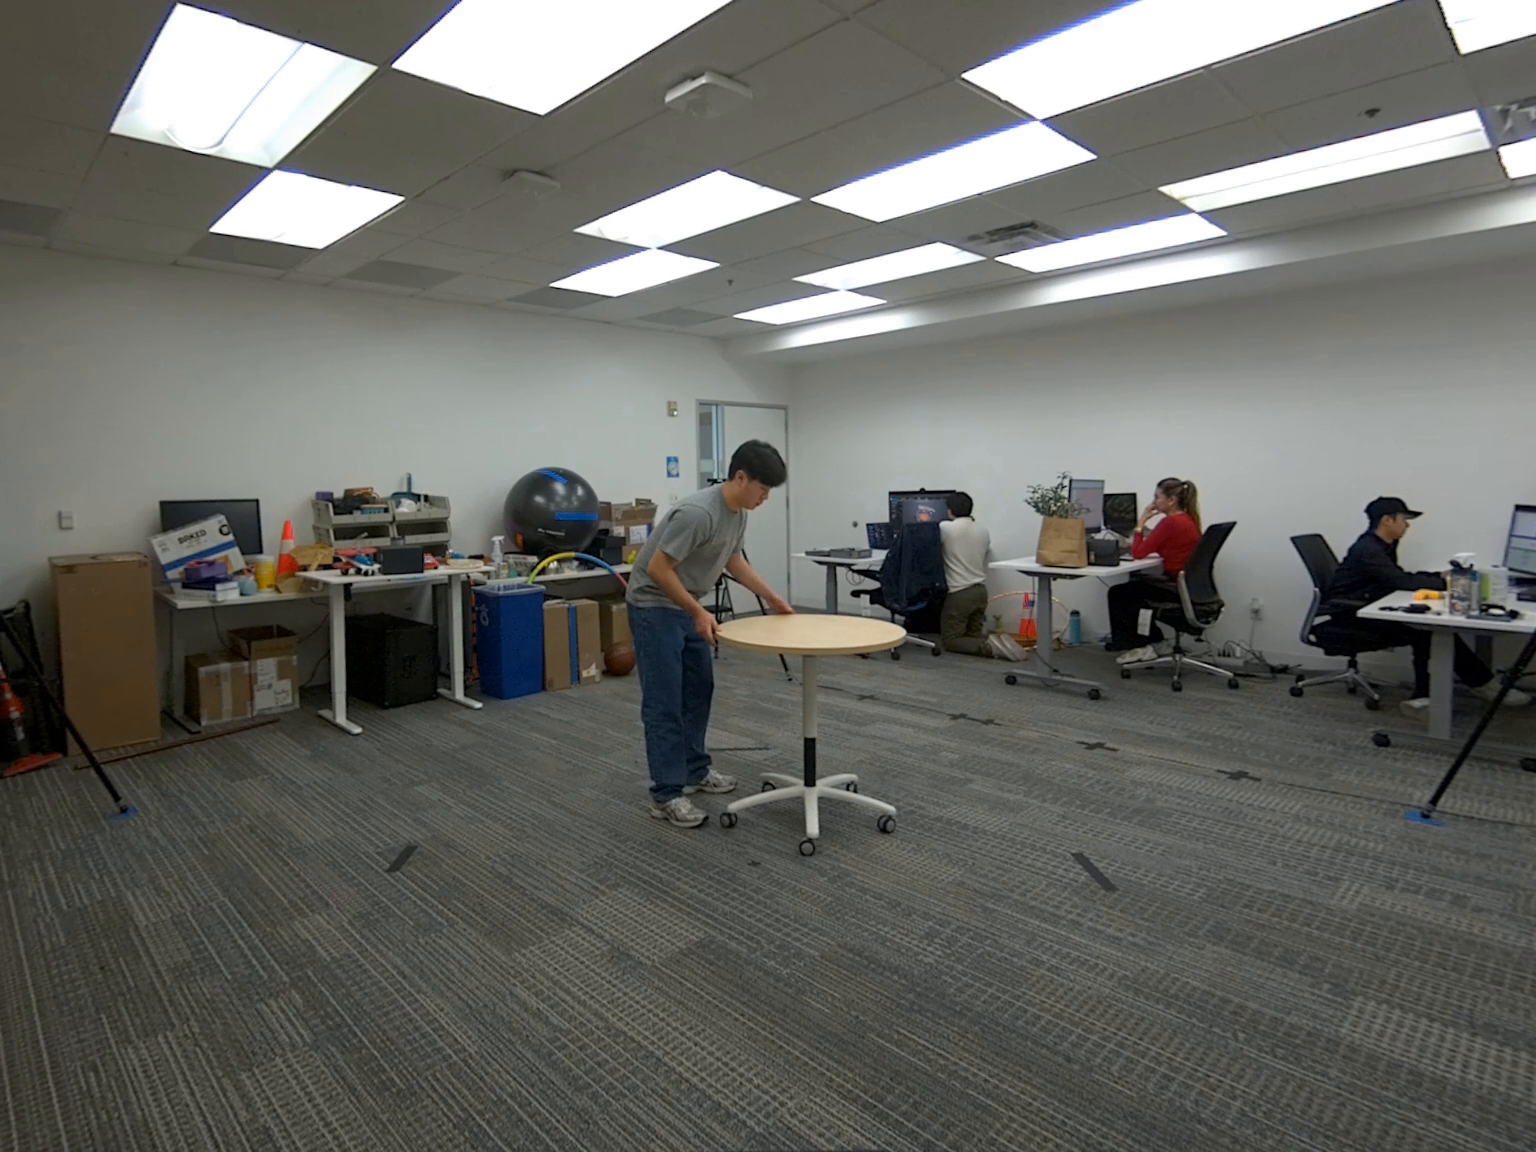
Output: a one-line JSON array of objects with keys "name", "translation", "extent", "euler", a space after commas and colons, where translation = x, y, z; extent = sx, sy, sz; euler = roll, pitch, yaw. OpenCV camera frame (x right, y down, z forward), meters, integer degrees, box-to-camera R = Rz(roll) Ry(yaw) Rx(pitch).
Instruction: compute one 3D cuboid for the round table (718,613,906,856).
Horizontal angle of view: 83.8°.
[{"name": "round table", "translation": [0.174, 0.611, 3.474], "extent": [0.763, 0.791, 0.768], "euler": [-1, 5, -2]}]
